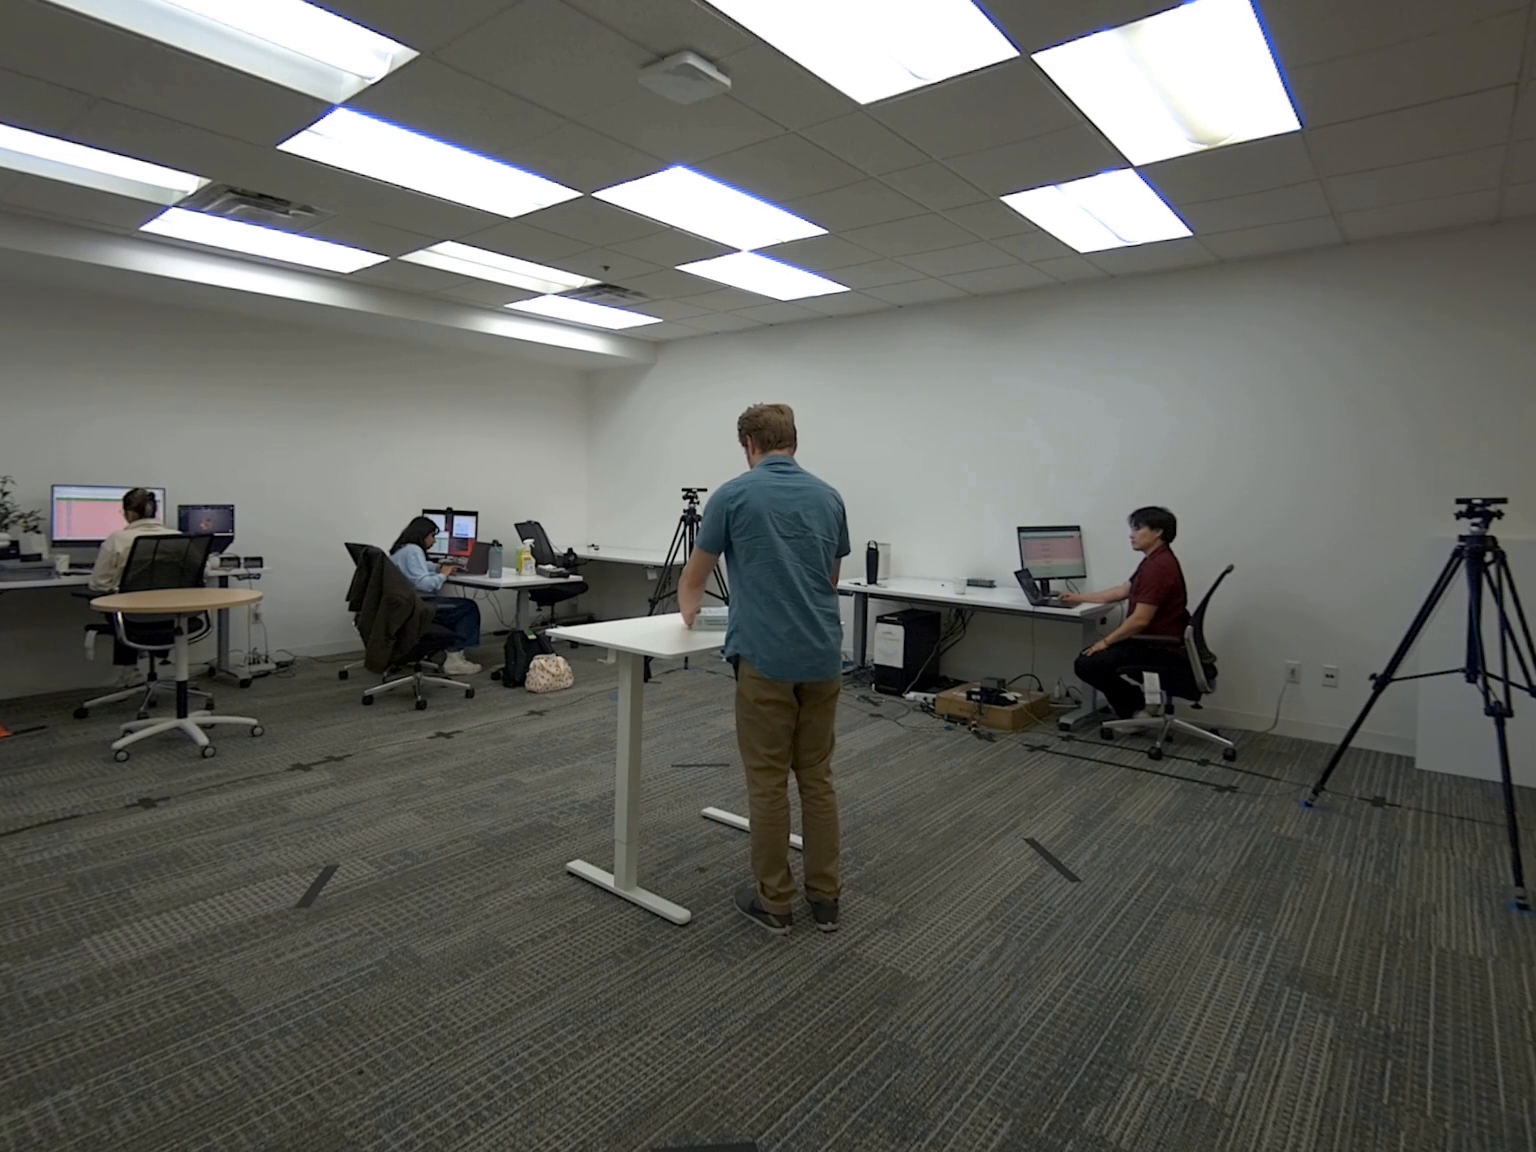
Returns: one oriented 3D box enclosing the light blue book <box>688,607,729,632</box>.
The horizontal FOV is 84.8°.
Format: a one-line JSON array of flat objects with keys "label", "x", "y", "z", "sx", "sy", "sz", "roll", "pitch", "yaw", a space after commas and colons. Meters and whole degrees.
[{"label": "light blue book", "x": -0.170, "y": 0.160, "z": 3.135, "sx": 0.258, "sy": 0.059, "sz": 0.194, "roll": 0, "pitch": 5, "yaw": -10}]
